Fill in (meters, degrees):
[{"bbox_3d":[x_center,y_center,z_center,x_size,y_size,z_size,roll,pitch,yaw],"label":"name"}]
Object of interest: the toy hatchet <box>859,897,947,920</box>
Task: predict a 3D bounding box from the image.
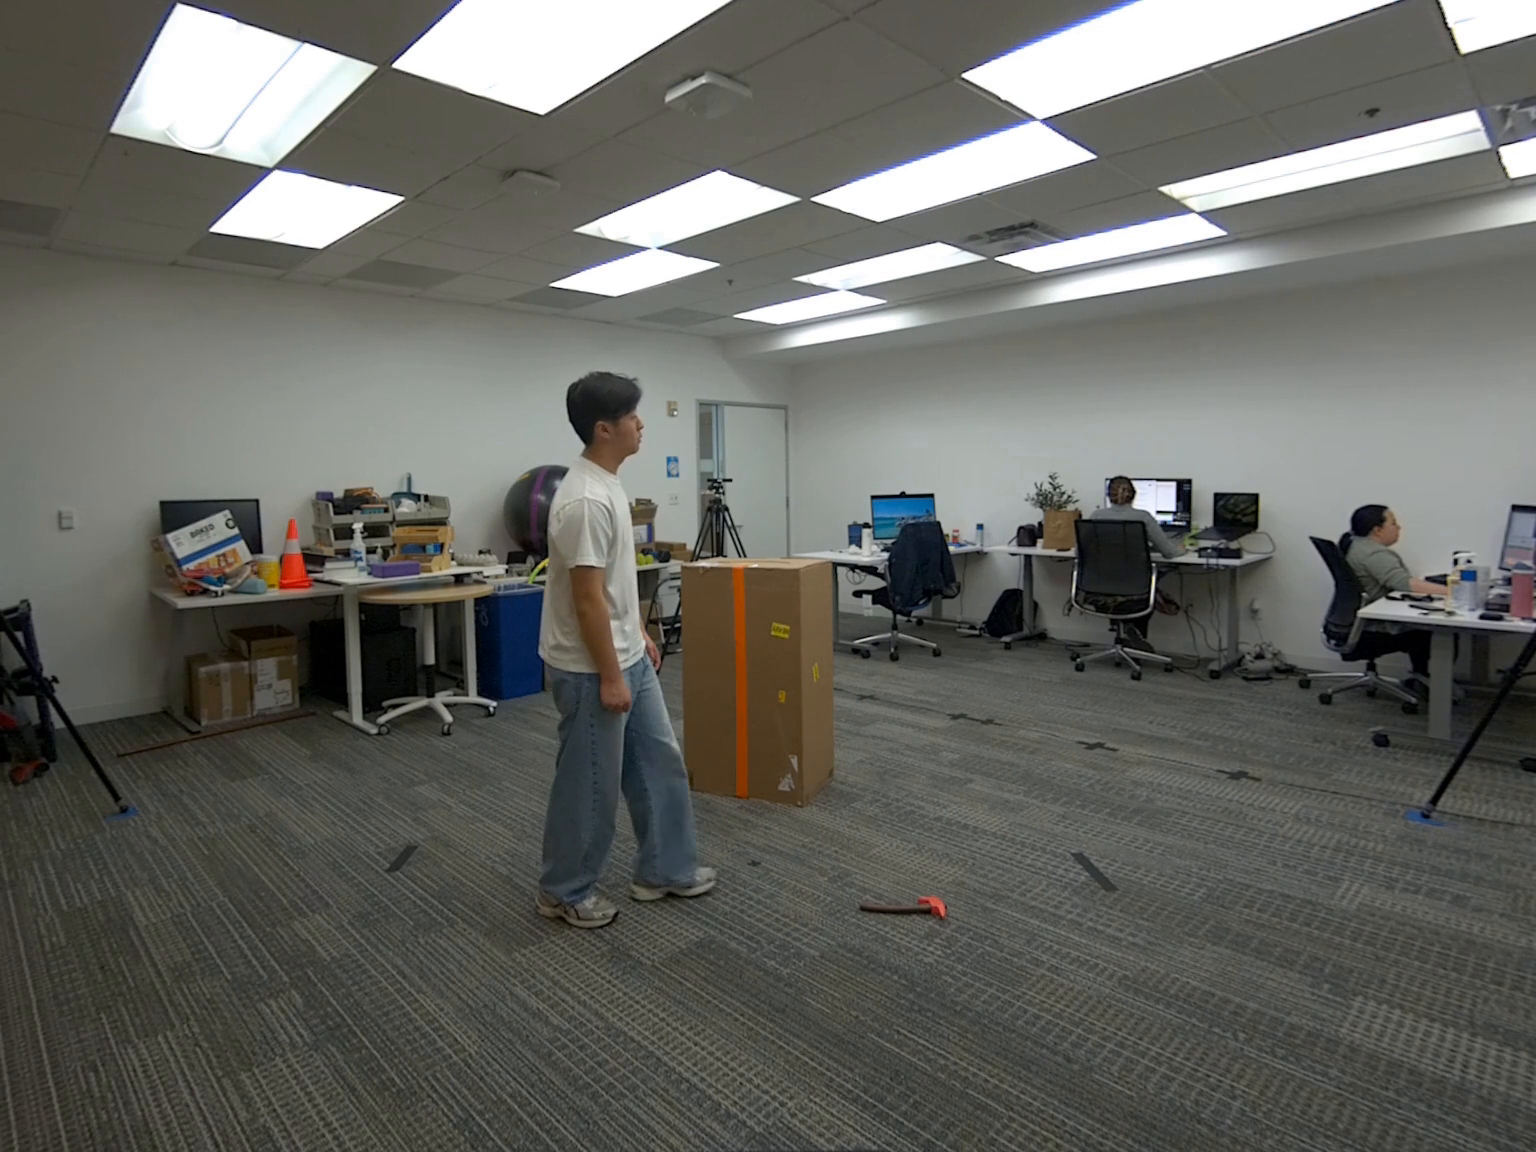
[{"bbox_3d":[0.436,1.058,2.769,0.274,0.029,0.129,0,6,17],"label":"toy hatchet"}]
